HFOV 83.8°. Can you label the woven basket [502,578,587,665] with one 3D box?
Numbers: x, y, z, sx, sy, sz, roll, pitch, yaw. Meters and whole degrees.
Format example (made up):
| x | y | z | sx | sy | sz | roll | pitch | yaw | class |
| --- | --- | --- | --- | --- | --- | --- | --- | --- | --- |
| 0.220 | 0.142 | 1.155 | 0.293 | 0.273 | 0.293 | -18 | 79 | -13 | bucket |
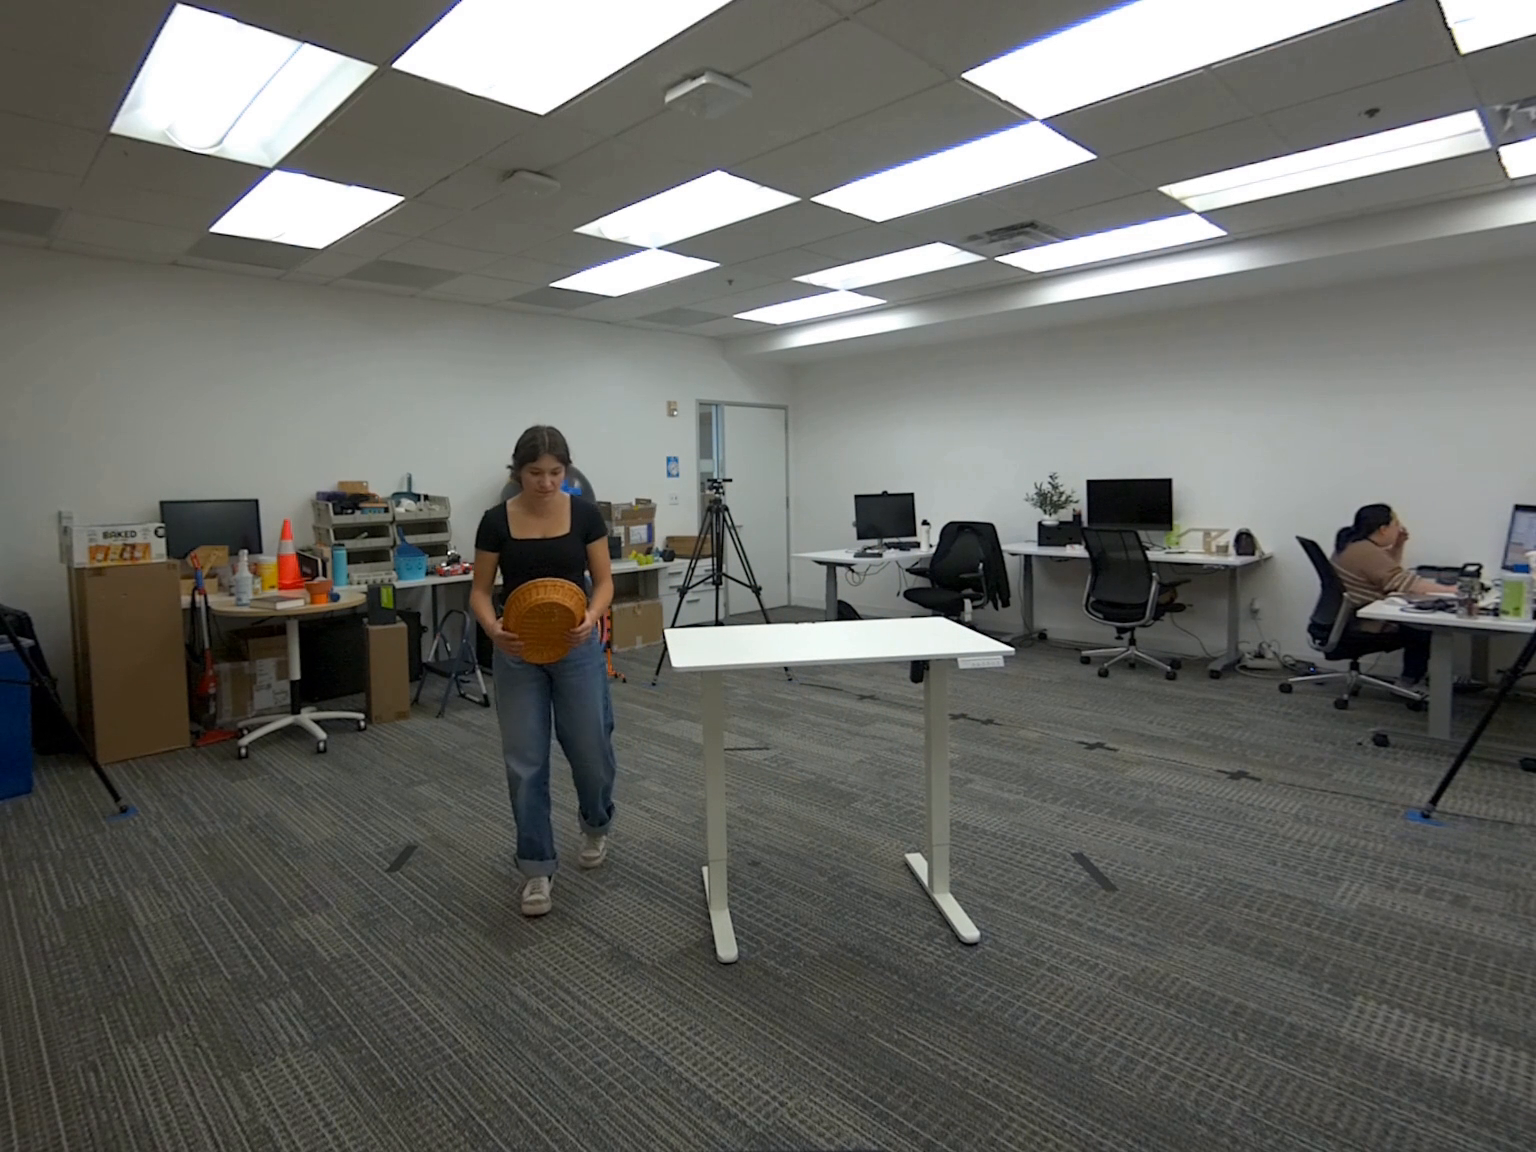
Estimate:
| x | y | z | sx | sy | sz | roll | pitch | yaw | class |
| --- | --- | --- | --- | --- | --- | --- | --- | --- | --- |
| -0.703 | 0.157 | 2.640 | 0.249 | 0.343 | 0.076 | -4 | 45 | -17 | woven basket |
